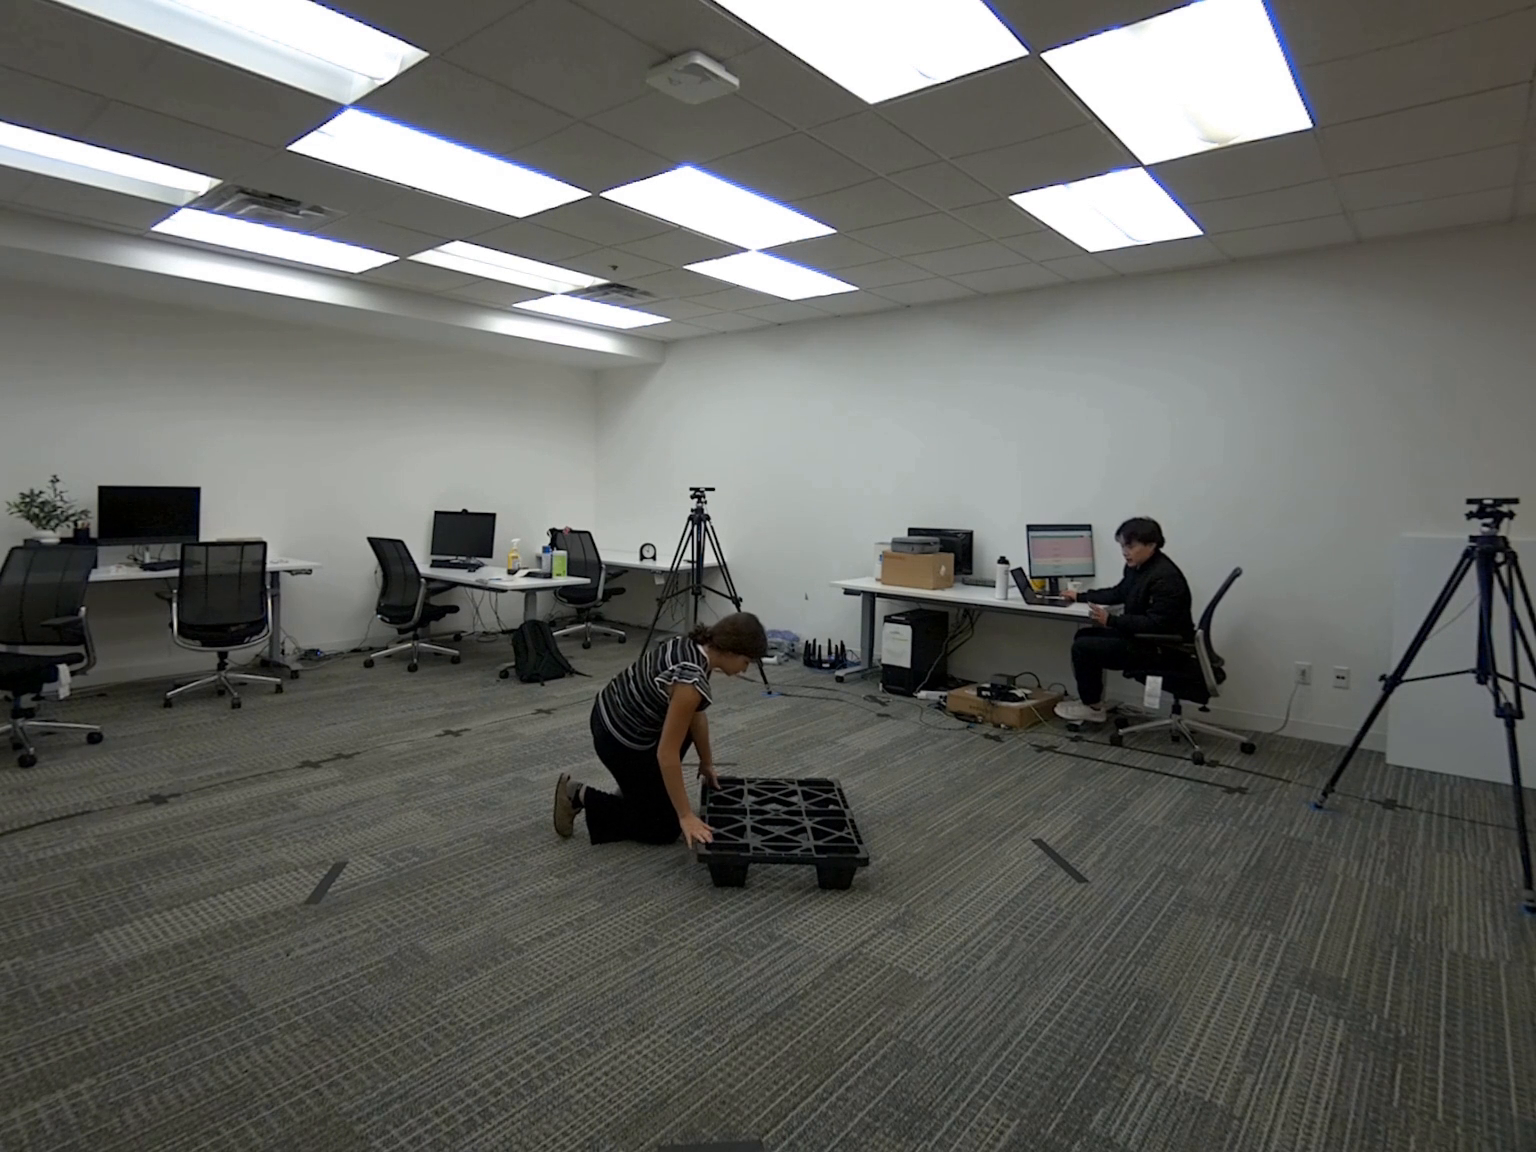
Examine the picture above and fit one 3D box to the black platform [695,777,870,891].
[{"bbox_3d":[0.021,0.983,3.321,0.605,0.143,0.809,0,5,-1],"label":"black platform"}]
